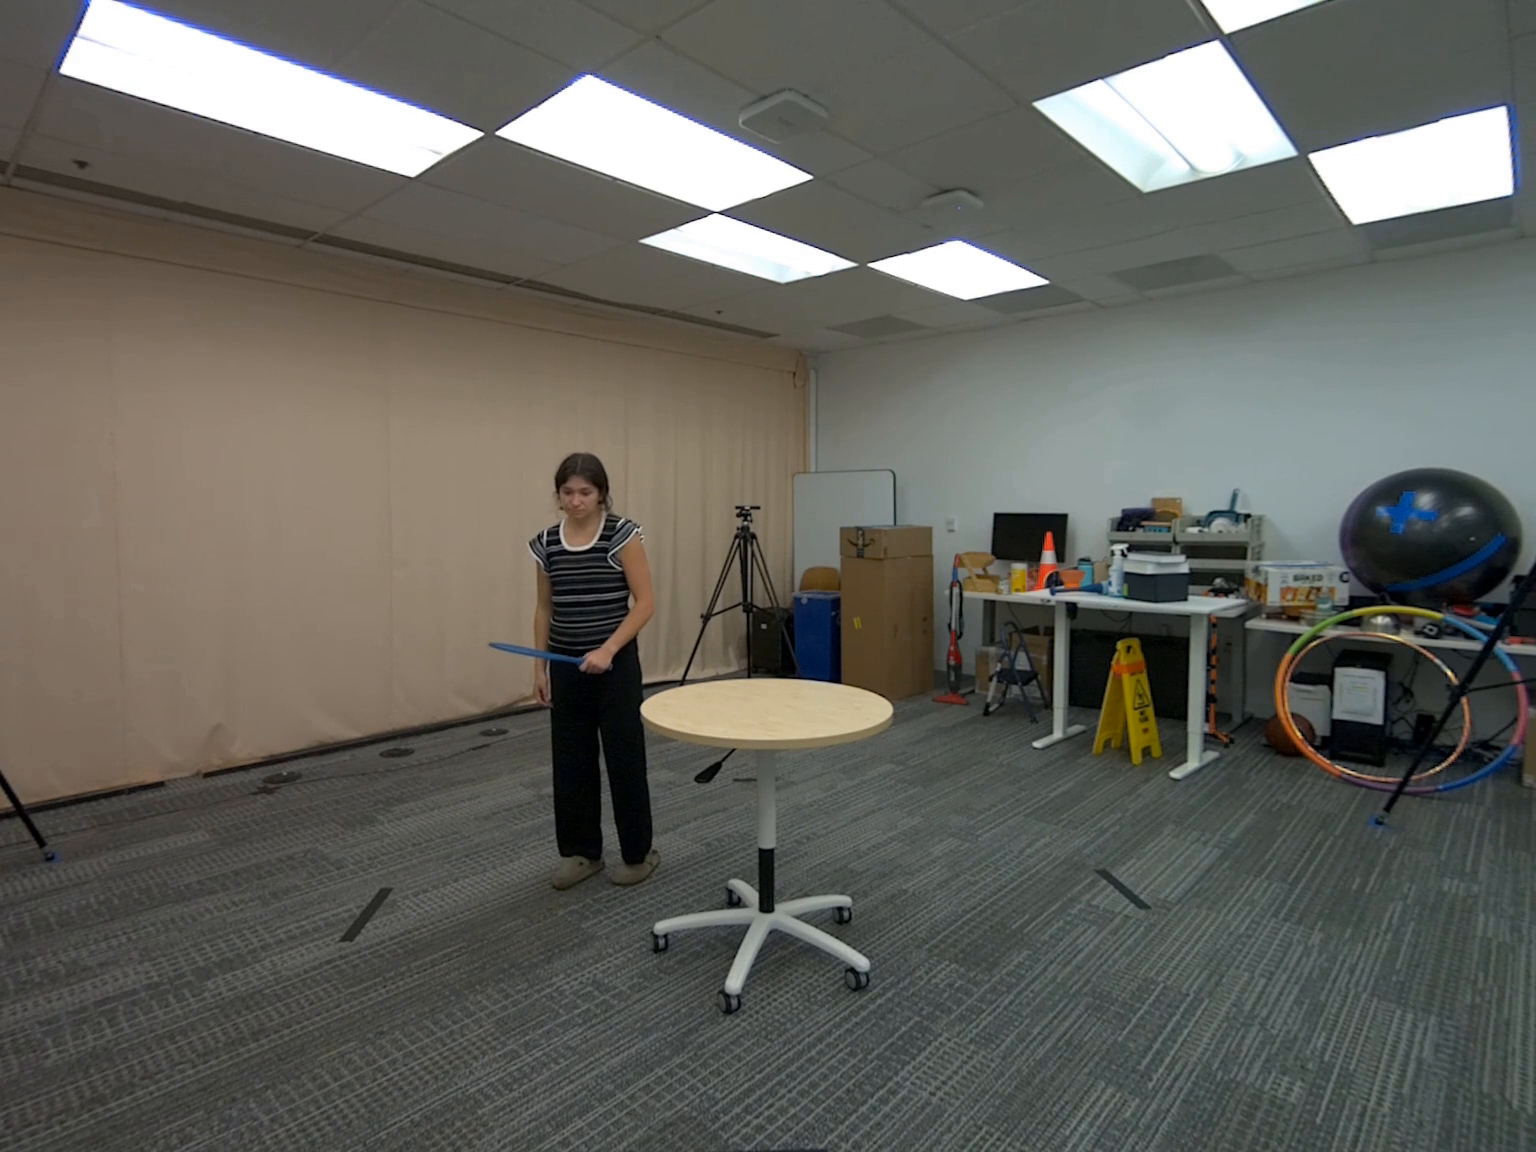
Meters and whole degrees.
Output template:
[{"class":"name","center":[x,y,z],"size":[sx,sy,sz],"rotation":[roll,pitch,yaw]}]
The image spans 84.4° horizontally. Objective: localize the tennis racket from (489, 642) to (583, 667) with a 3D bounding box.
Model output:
[{"class":"tennis racket","center":[-0.738,0.281,2.907],"size":[0.422,0.032,0.219],"rotation":[14,-1,-23]}]
